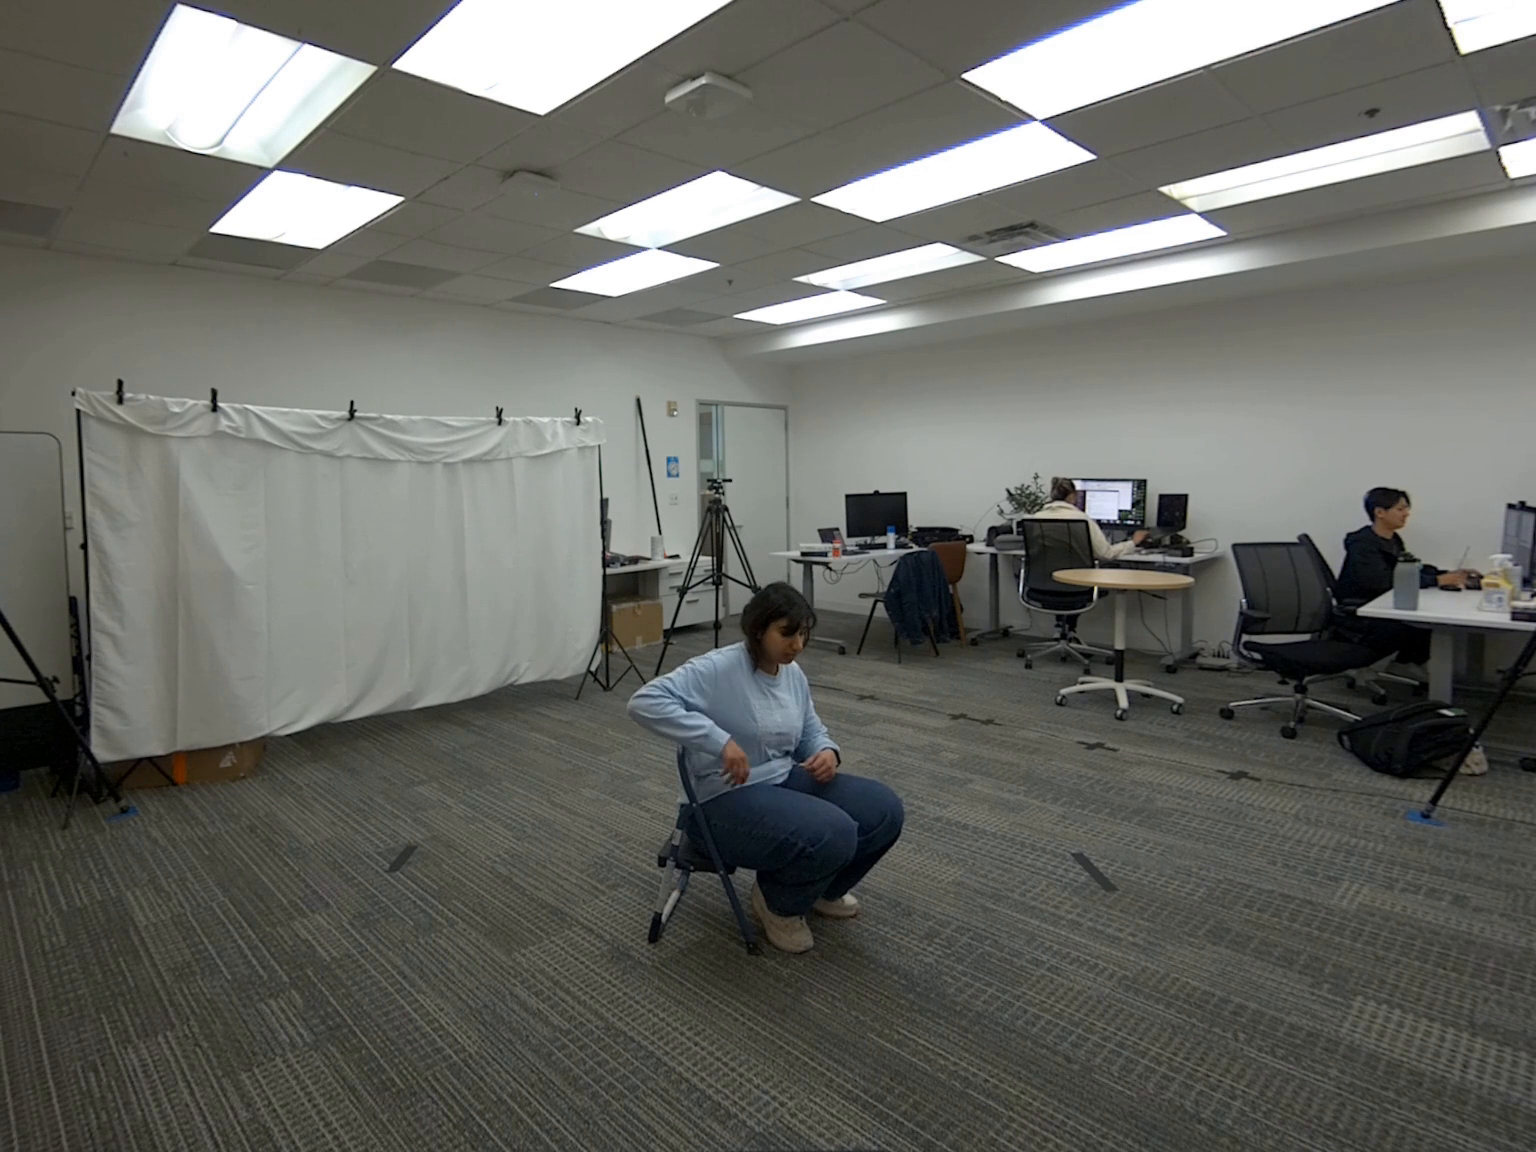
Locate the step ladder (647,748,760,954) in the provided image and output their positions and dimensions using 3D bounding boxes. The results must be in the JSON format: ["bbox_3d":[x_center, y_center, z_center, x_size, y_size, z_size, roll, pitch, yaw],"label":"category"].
[{"bbox_3d":[-0.172,0.798,2.734,0.353,0.605,0.428,0,3,9],"label":"step ladder"}]
